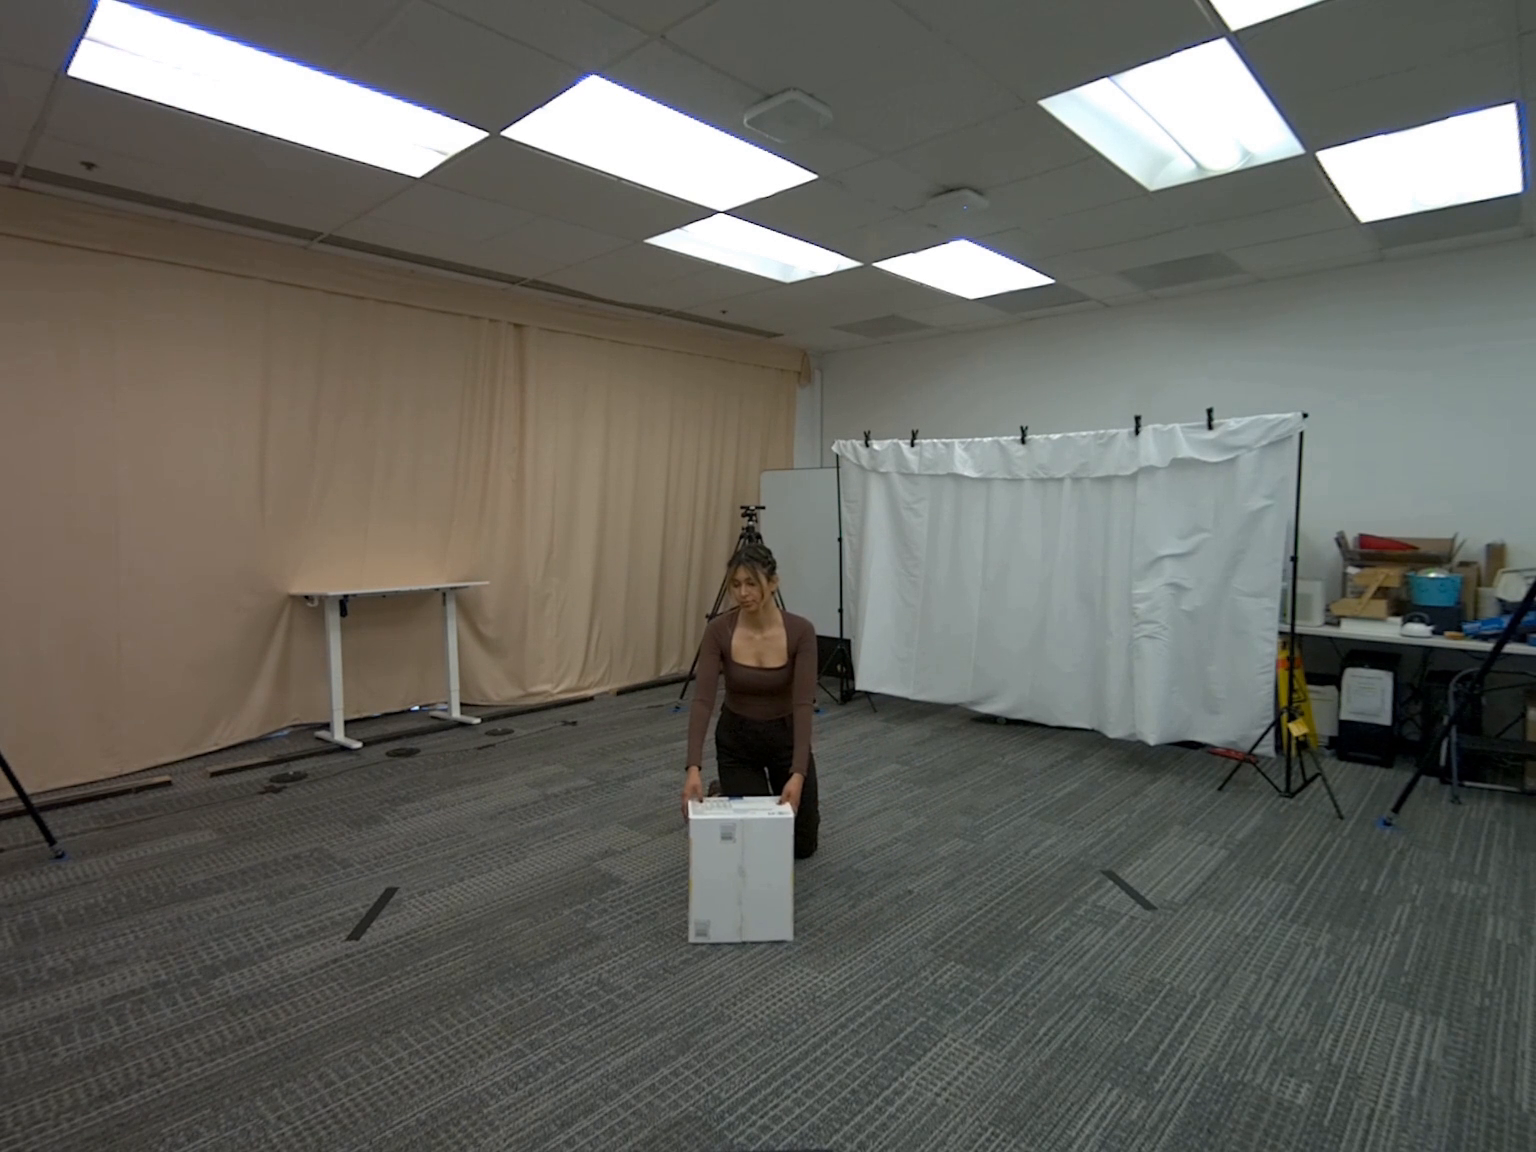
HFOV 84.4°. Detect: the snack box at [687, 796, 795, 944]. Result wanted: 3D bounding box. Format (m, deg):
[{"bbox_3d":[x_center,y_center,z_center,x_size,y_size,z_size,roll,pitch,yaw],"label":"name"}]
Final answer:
[{"bbox_3d":[-0.092,0.956,2.773,0.339,0.404,0.207,0,2,-4],"label":"snack box"}]
